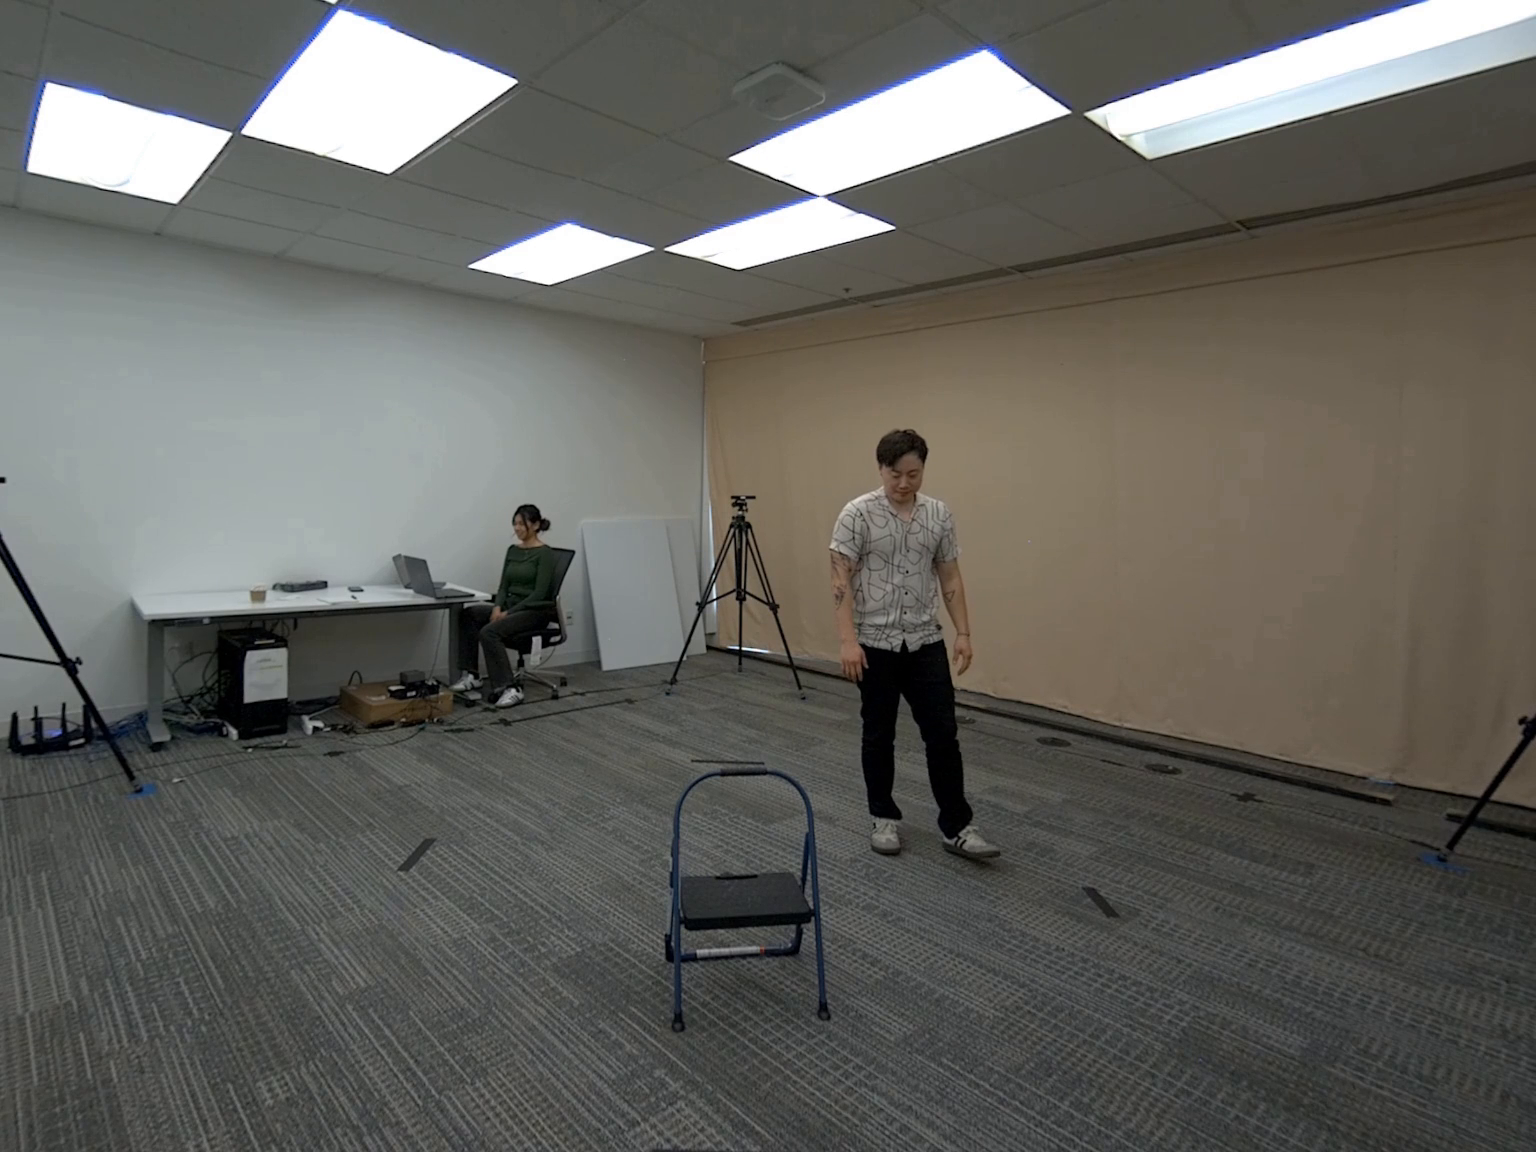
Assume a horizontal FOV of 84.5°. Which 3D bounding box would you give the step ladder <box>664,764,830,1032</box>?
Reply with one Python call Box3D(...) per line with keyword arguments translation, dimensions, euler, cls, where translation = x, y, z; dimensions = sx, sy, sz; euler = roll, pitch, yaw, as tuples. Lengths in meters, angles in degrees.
Box3D(translation=(-0.066, 0.872, 2.371), dimensions=(0.427, 0.604, 0.353), euler=(1, 3, -11), cls="step ladder")
